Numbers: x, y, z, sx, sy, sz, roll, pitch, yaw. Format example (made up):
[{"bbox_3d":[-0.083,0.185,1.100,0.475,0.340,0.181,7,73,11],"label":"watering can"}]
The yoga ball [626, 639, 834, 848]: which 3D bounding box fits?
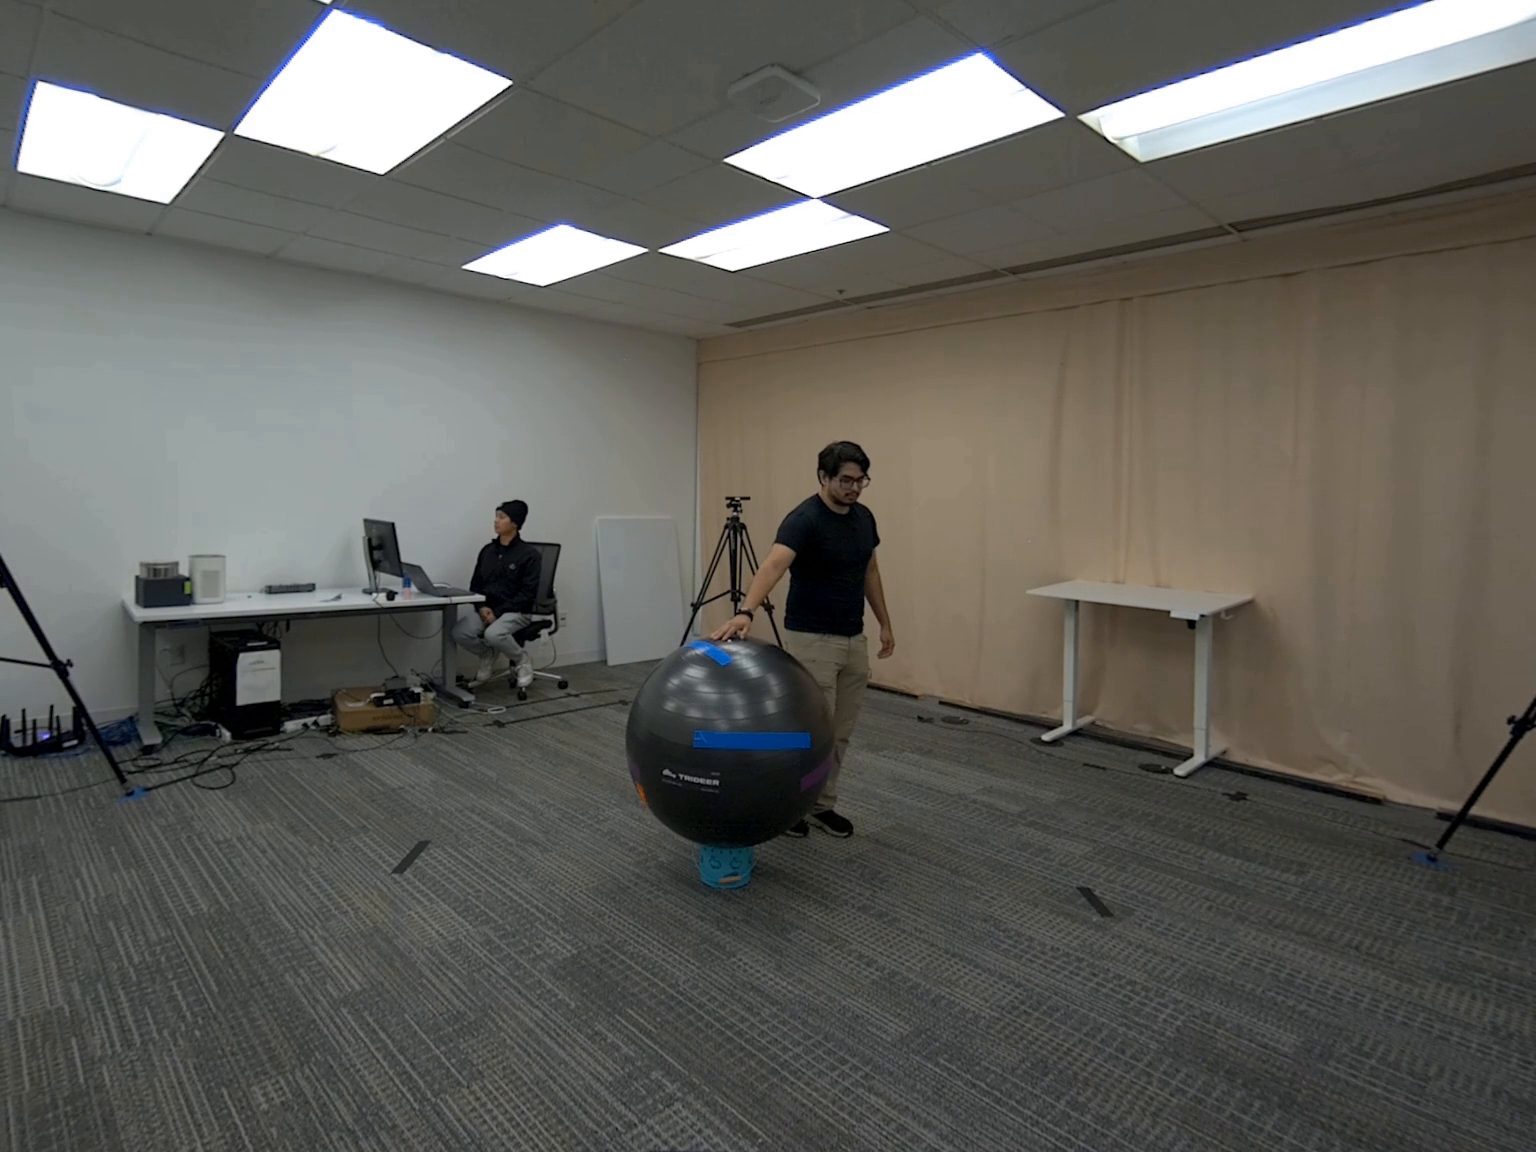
[{"bbox_3d":[-0.148,0.601,3.062,0.757,0.756,0.760,1,4,-1],"label":"yoga ball"}]
